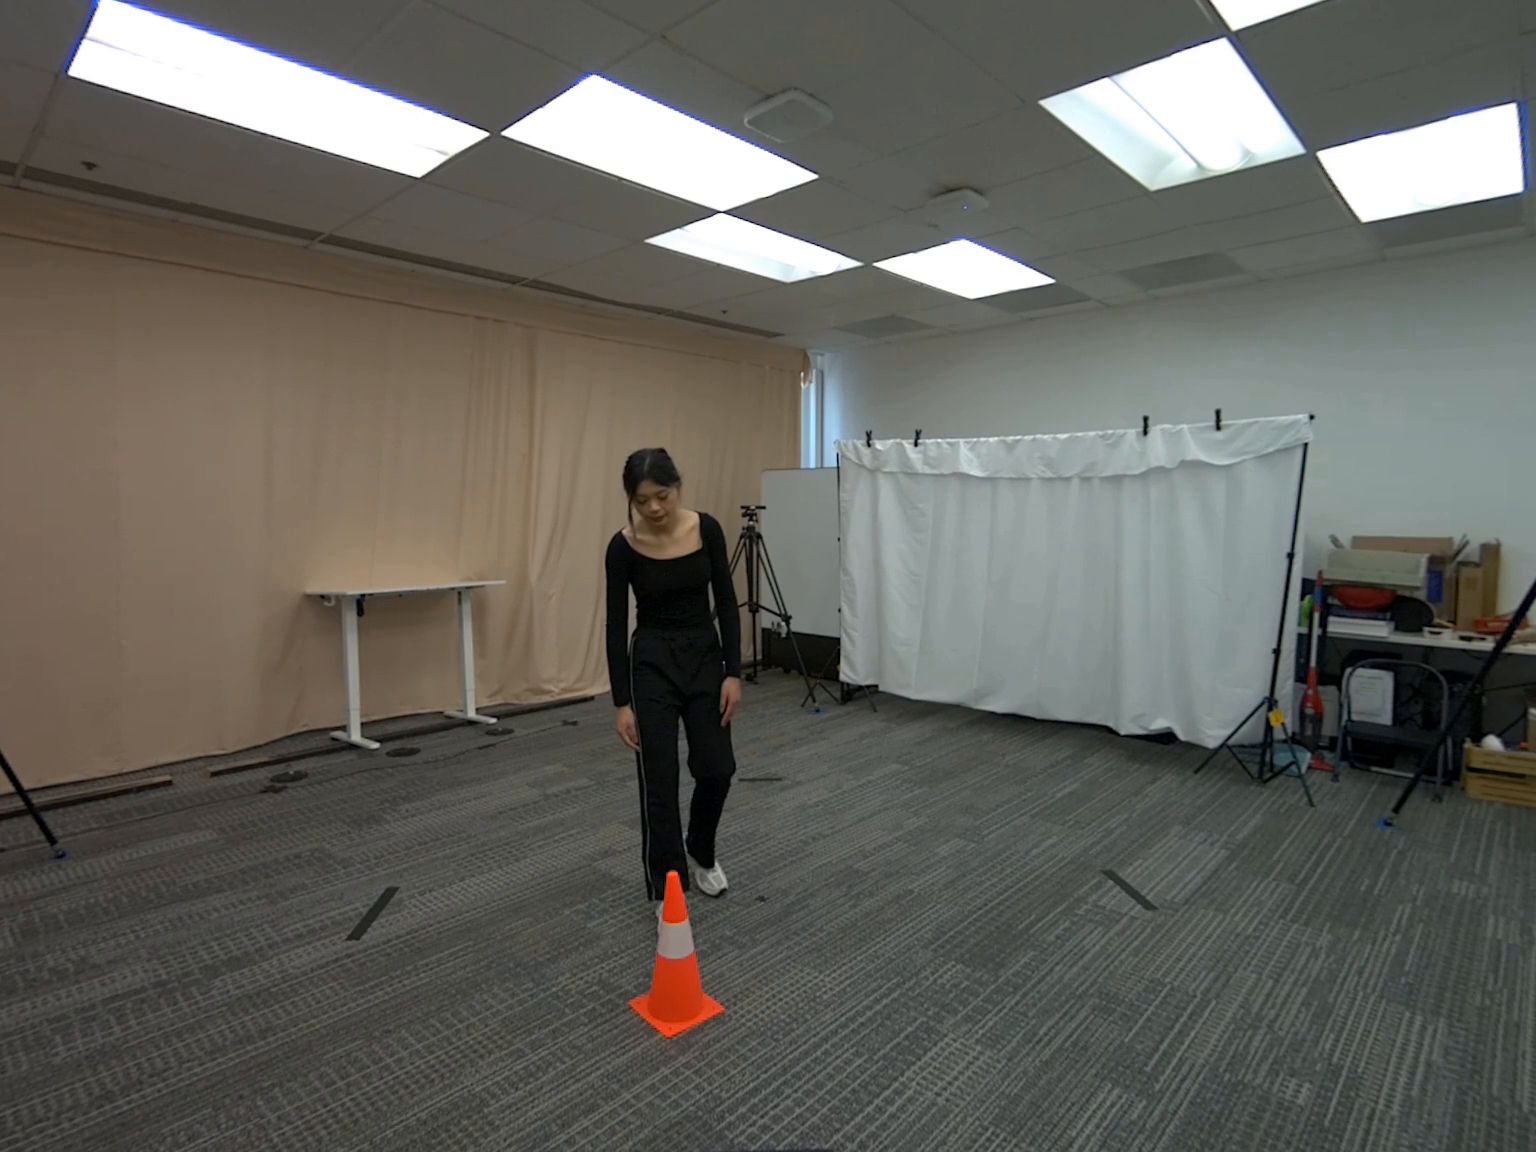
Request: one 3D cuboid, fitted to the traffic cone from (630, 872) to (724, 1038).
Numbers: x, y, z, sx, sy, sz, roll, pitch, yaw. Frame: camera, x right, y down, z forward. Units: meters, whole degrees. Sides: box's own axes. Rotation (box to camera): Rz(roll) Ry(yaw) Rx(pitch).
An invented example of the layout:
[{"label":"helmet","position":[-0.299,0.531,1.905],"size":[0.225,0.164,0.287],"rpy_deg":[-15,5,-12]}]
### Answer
[{"label":"traffic cone","position":[-0.260,1.010,2.331],"size":[0.197,0.383,0.212],"rpy_deg":[-3,3,-44]}]
